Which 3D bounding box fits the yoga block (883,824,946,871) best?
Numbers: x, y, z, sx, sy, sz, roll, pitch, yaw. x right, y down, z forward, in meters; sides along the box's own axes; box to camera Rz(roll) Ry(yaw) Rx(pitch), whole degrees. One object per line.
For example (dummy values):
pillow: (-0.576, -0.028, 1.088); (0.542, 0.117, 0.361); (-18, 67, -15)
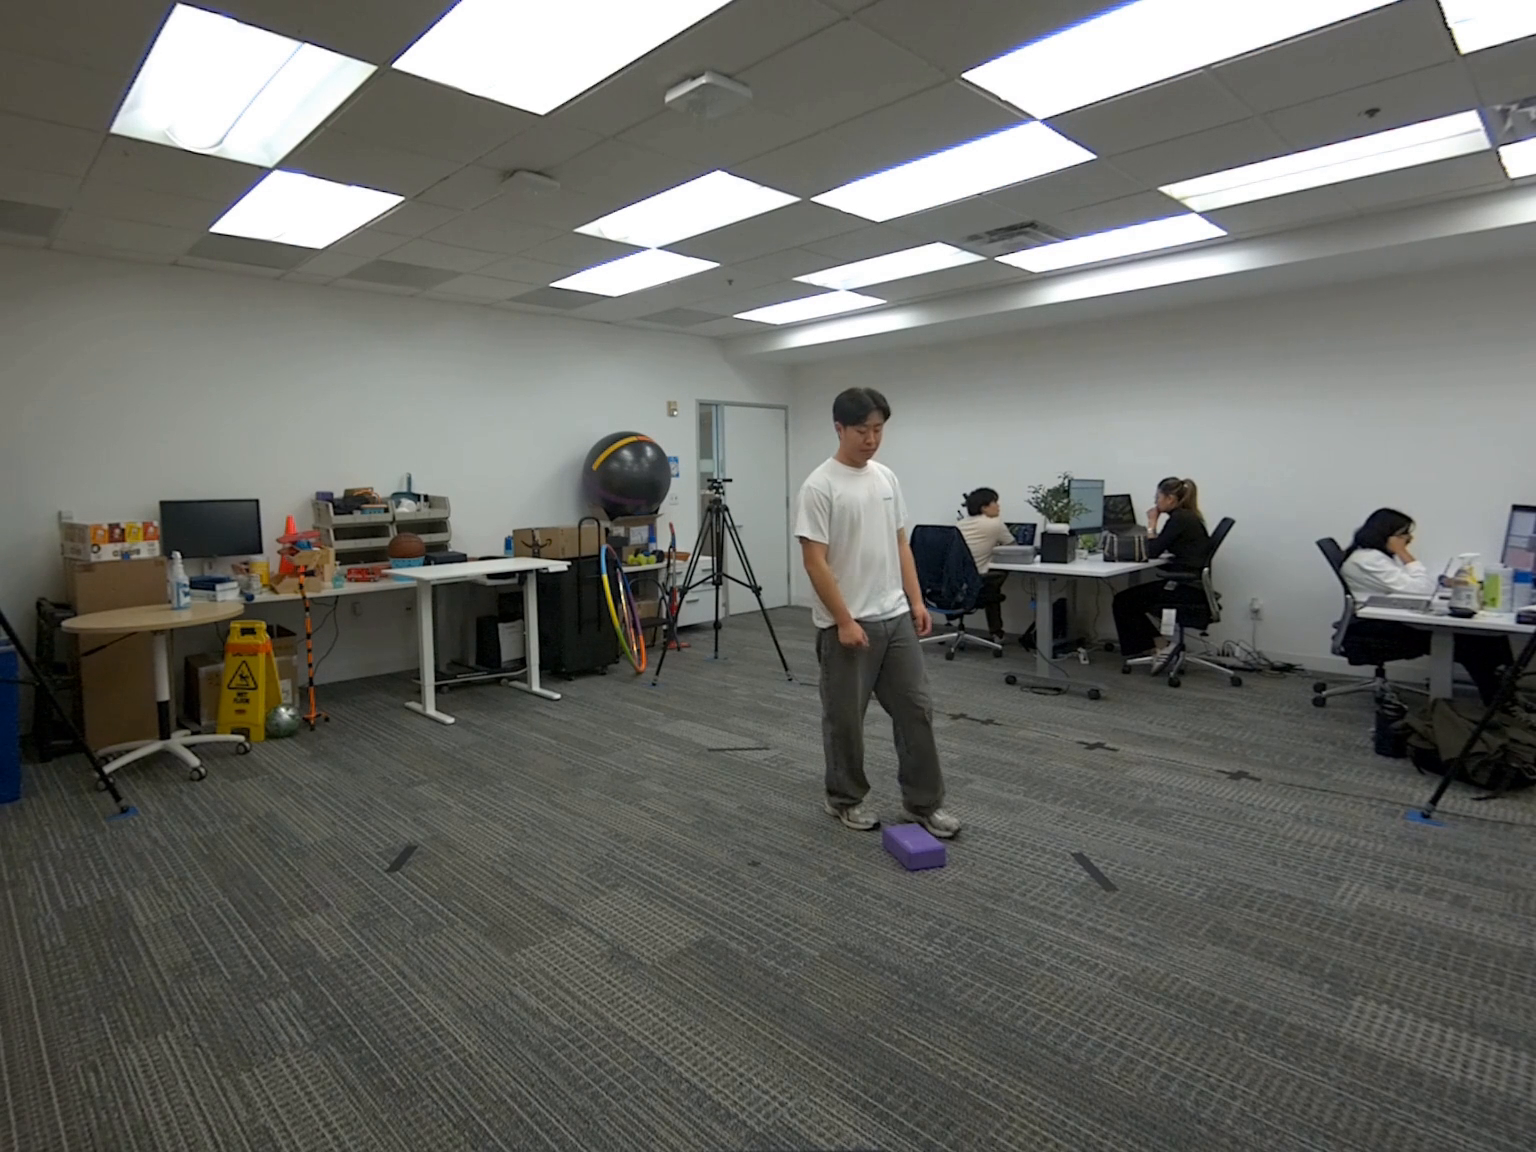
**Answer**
yoga block: (0.537, 0.994, 3.146); (0.147, 0.076, 0.233); (-3, 6, -15)
